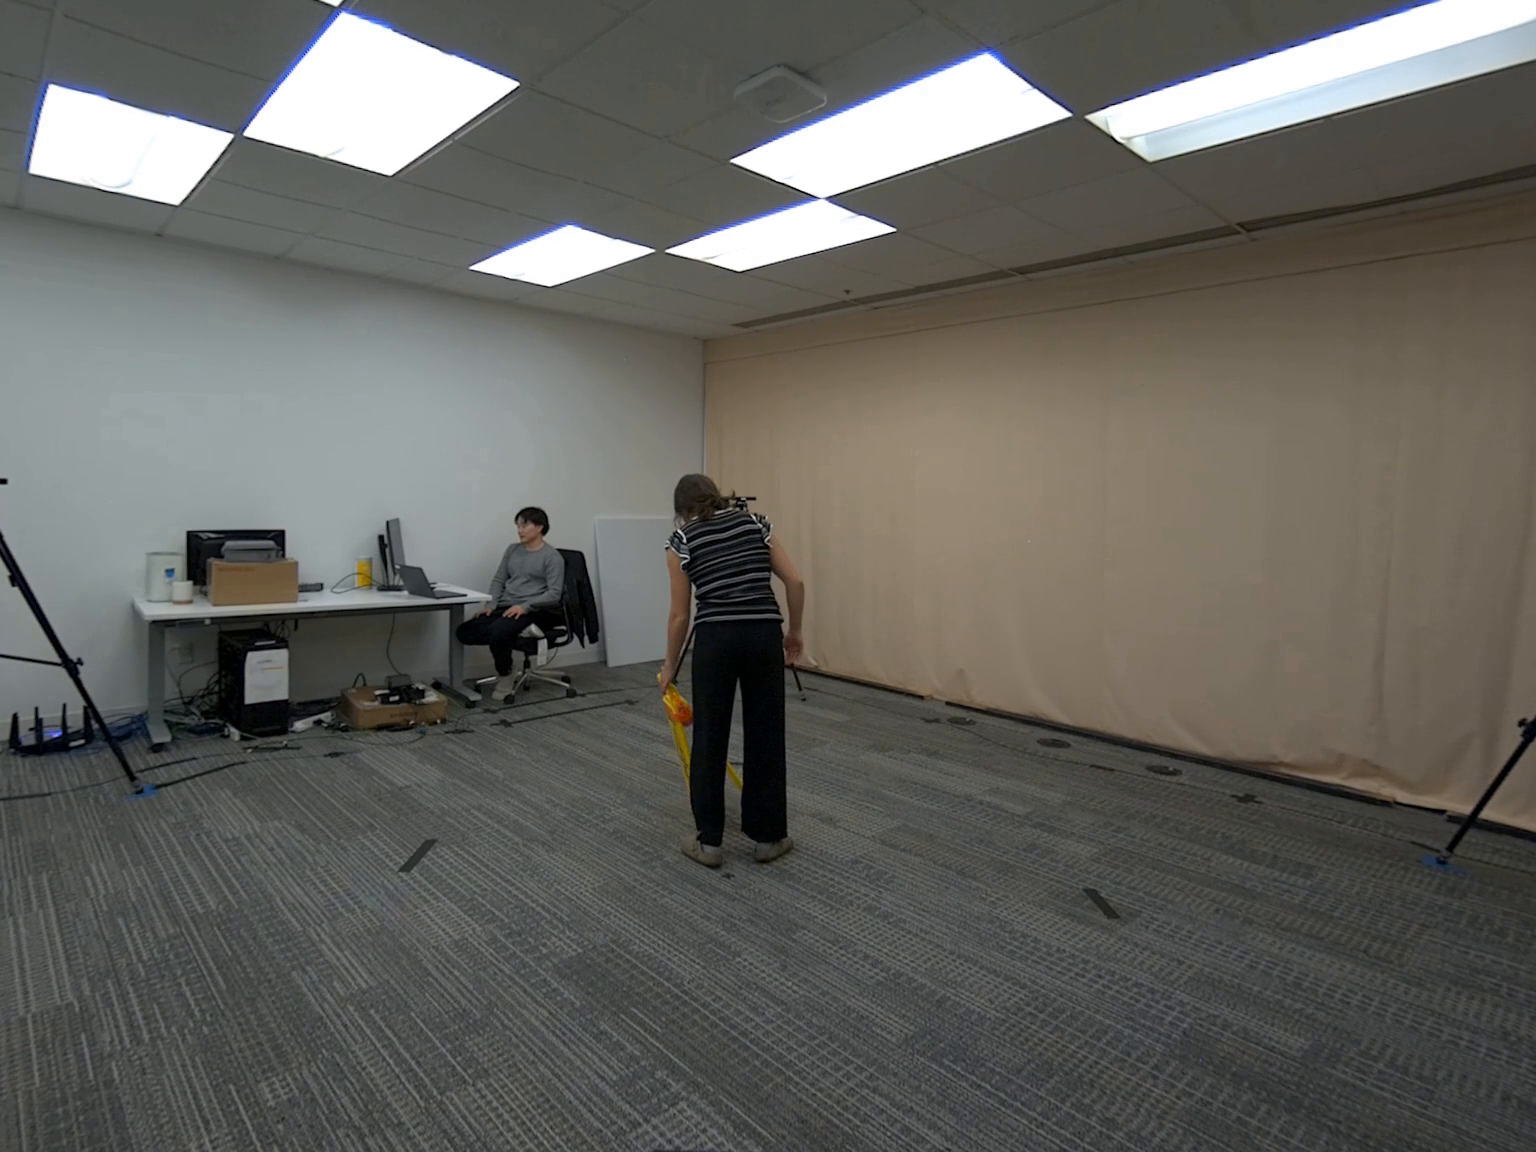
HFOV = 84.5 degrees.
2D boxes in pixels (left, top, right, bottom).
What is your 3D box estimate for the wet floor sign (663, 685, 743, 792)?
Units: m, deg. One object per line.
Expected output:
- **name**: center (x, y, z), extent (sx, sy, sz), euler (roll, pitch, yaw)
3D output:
- **wet floor sign**: center (-0.319, 0.723, 3.593), extent (0.288, 0.638, 0.287), euler (-25, 12, -13)
